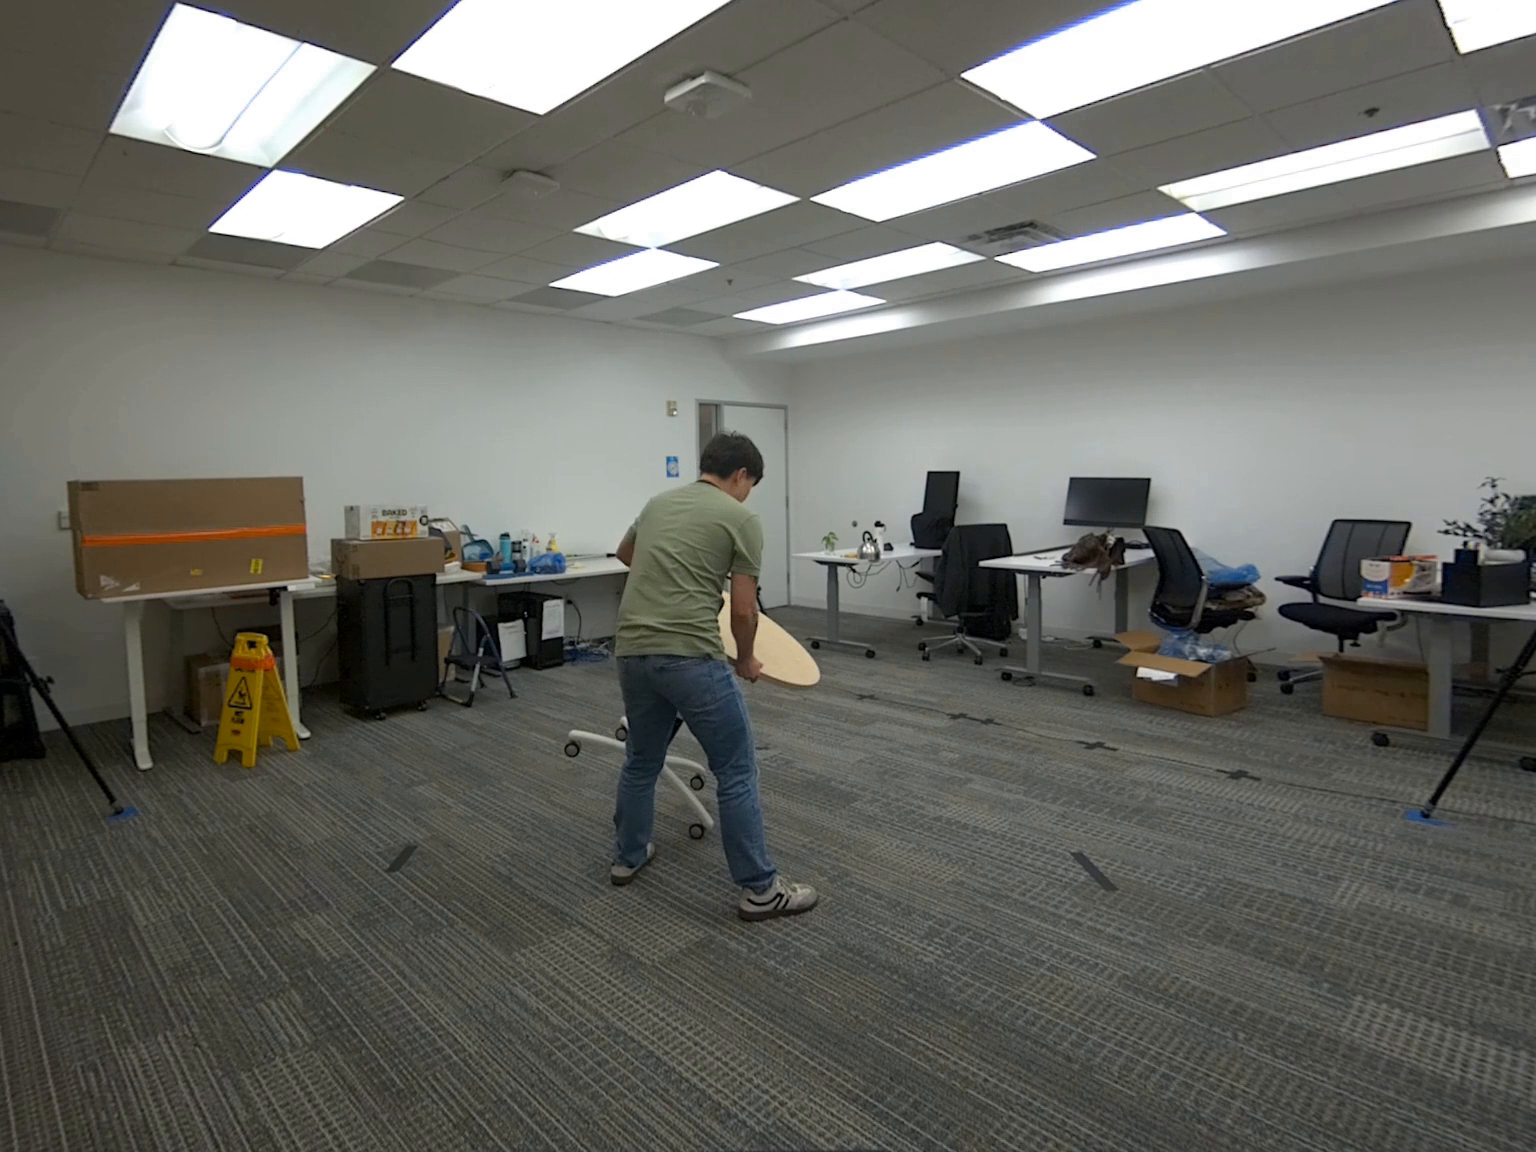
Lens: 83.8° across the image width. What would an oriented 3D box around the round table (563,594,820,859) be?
[{"bbox_3d":[-0.328,0.520,3.398,0.757,0.791,0.774,28,11,-8],"label":"round table"}]
